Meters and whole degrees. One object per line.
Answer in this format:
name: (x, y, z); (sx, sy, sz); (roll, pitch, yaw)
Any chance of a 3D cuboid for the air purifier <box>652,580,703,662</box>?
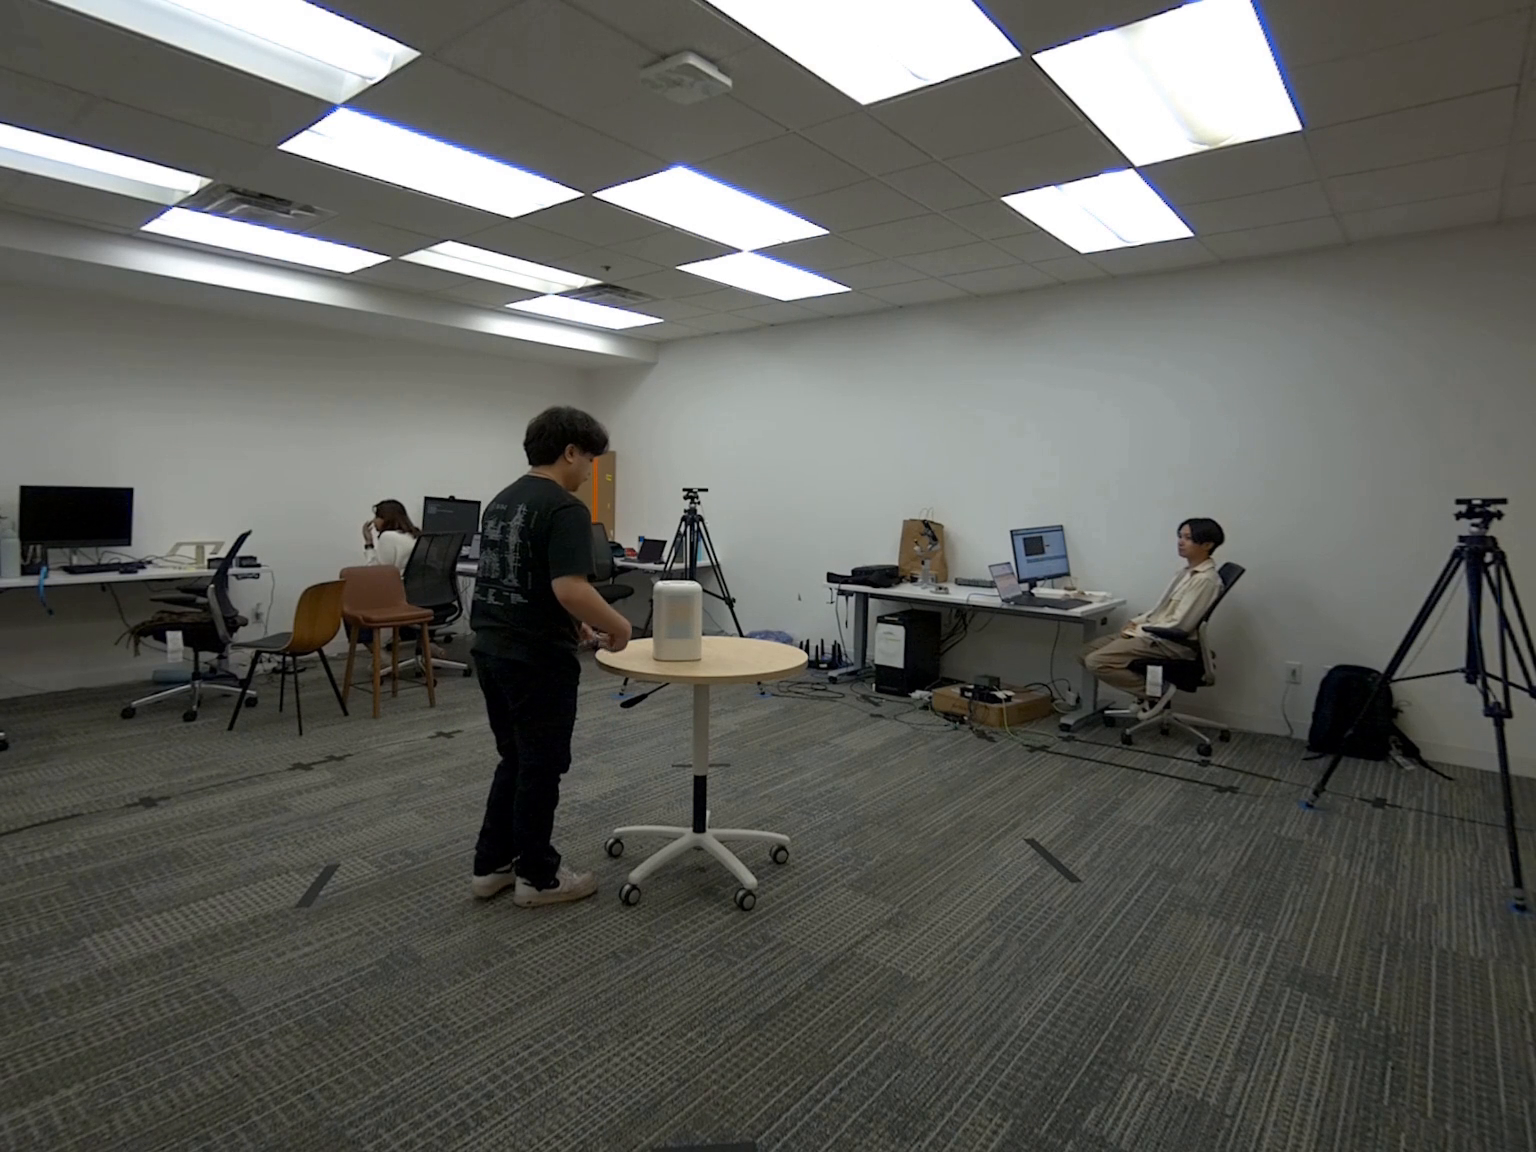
air purifier: (-0.336, 0.158, 3.003); (0.170, 0.264, 0.173); (0, 4, -6)
